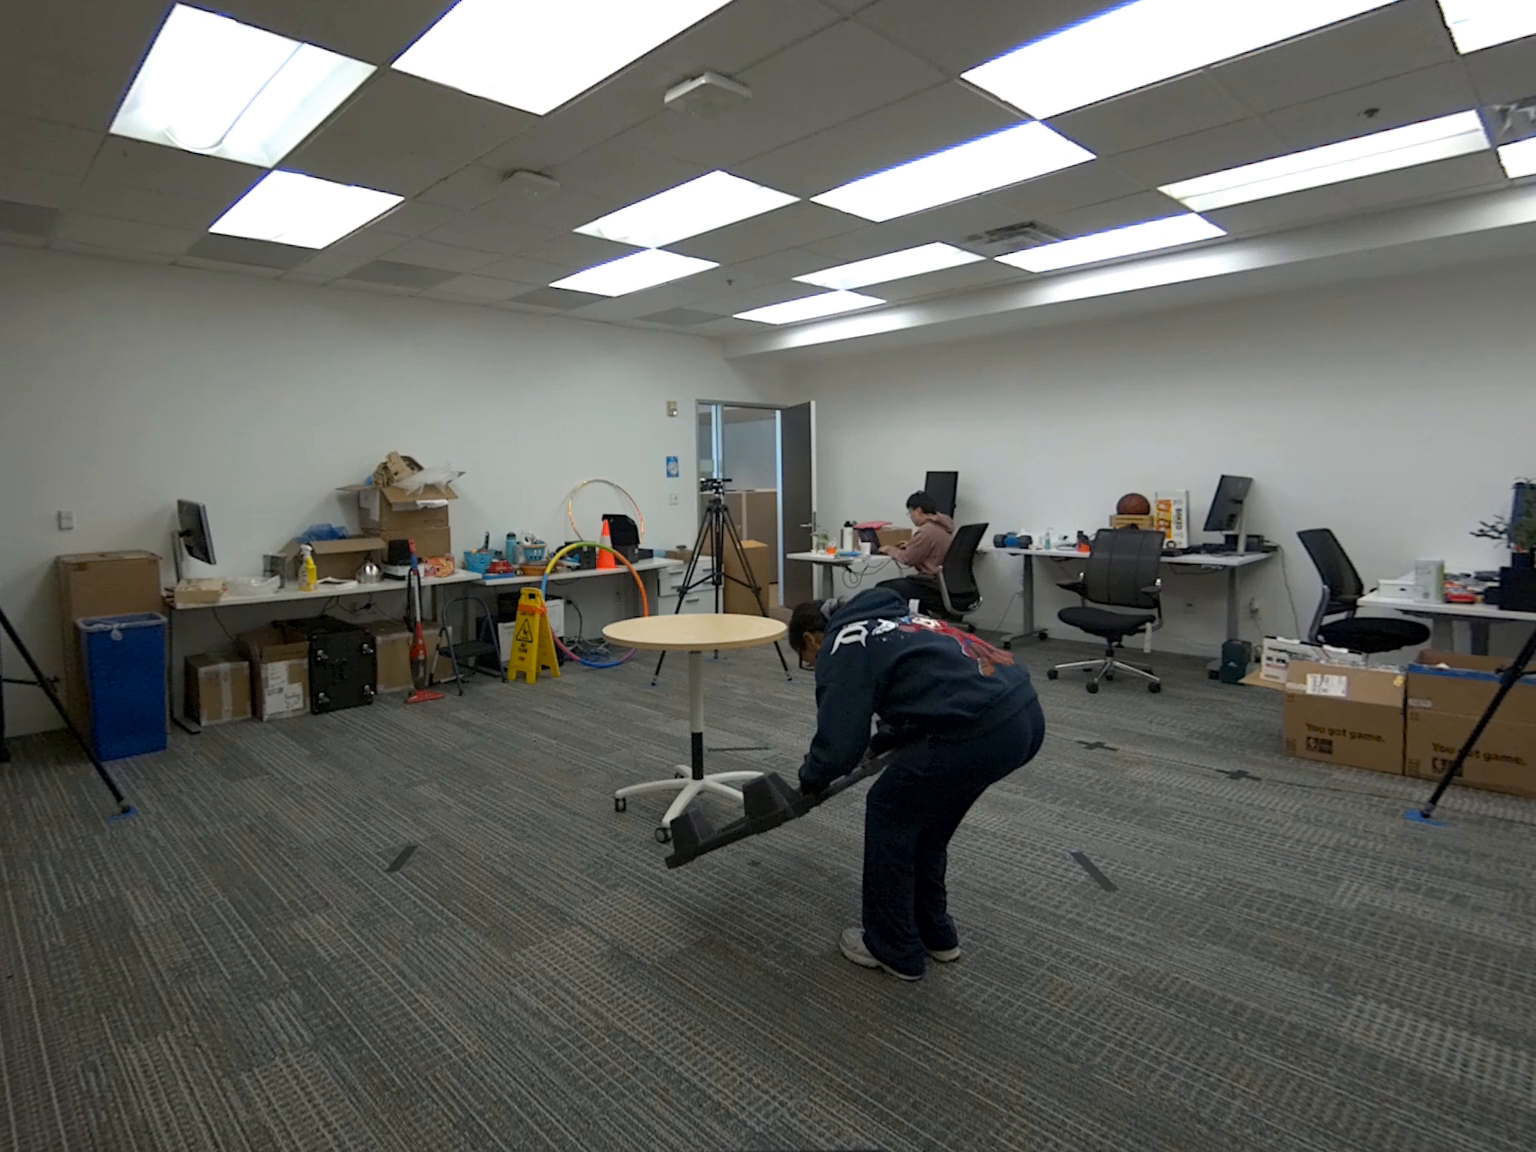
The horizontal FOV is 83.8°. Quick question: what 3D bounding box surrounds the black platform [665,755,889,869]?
[{"bbox_3d":[0.107,0.666,2.747,0.786,0.146,0.609,-12,-18,-48],"label":"black platform"}]
